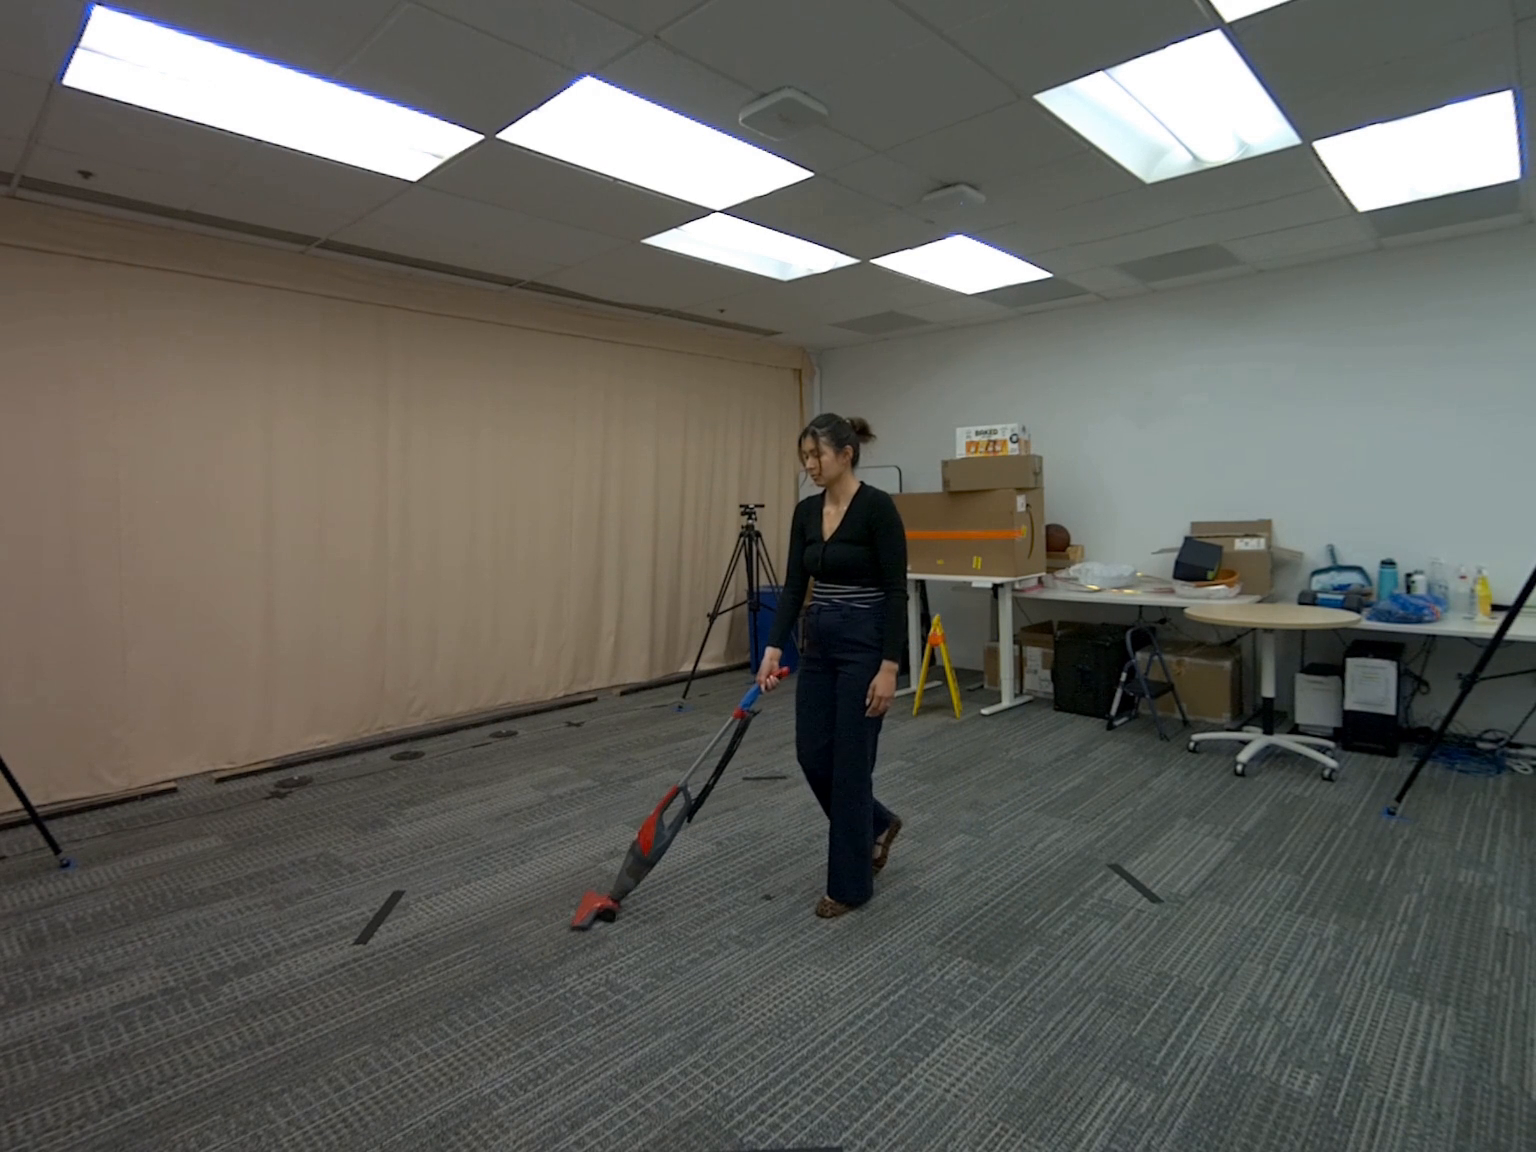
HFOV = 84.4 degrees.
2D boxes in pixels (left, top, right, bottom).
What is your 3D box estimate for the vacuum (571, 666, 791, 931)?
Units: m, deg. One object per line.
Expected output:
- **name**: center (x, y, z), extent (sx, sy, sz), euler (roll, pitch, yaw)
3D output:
- **vacuum**: center (-0.270, 0.741, 2.865), extent (0.143, 1.050, 0.254), euler (37, 3, -6)
